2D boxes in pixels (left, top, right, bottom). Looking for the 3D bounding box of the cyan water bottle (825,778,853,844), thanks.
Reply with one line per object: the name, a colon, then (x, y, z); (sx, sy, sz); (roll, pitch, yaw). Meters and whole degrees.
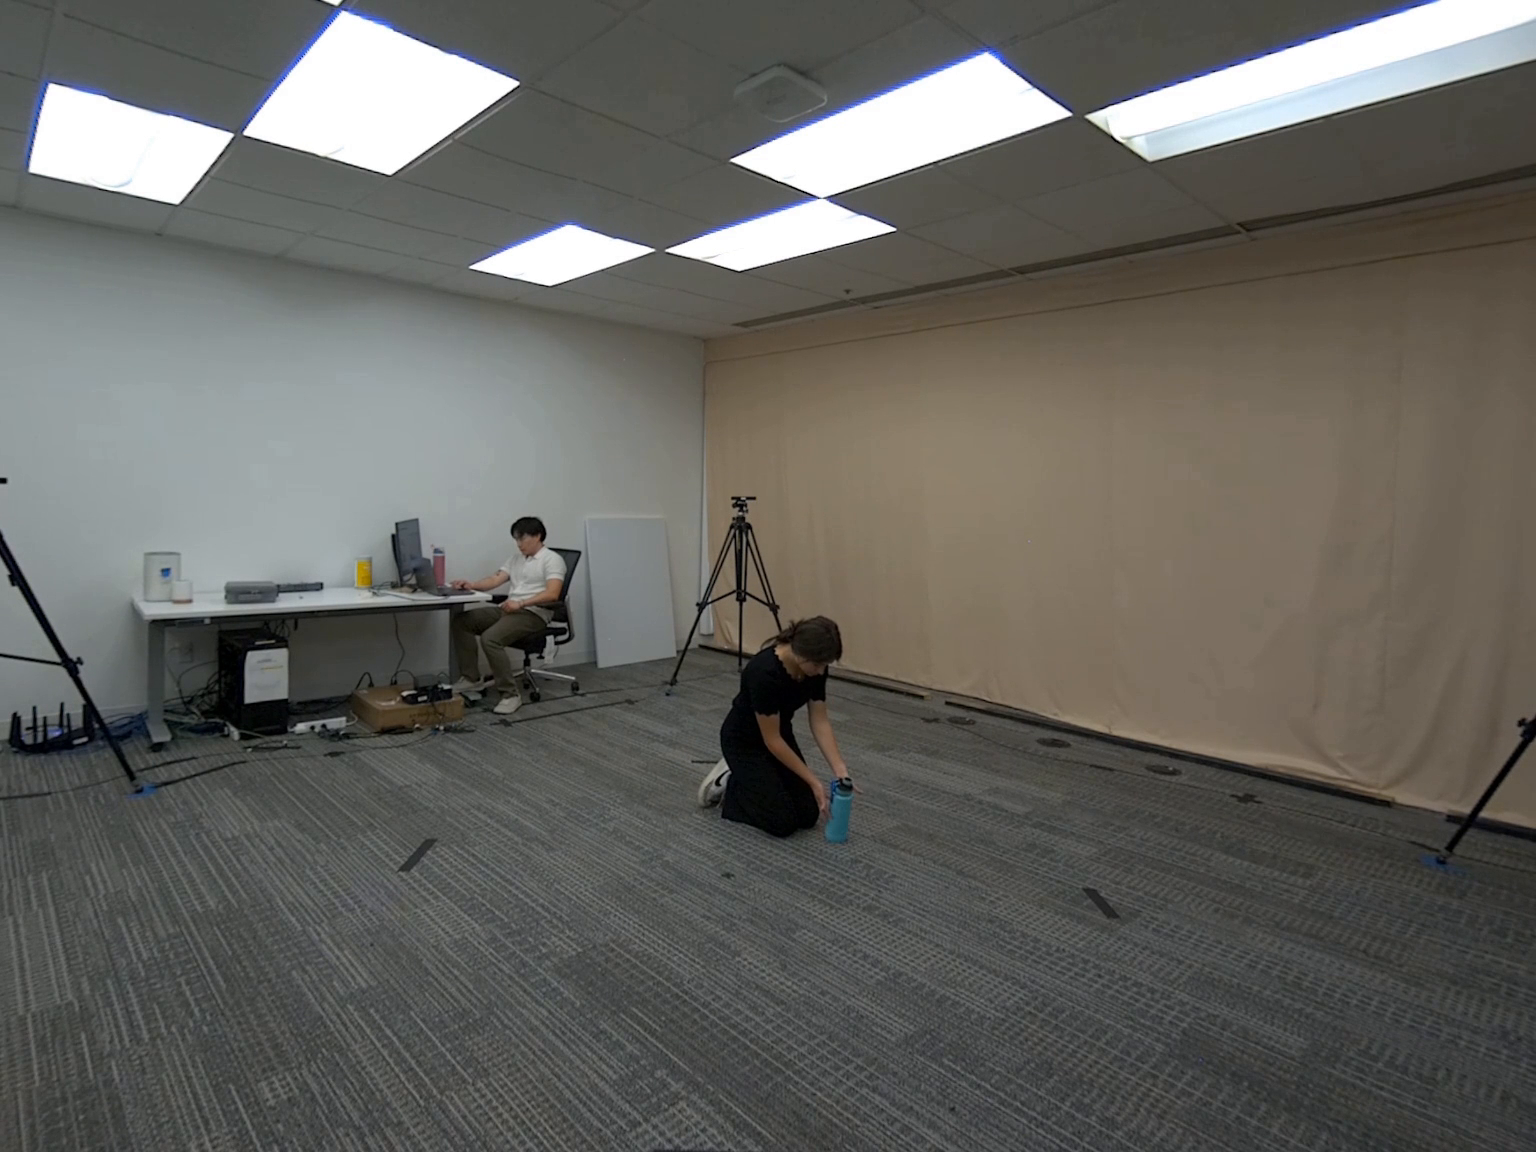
cyan water bottle: (0.282, 0.947, 3.414); (0.092, 0.279, 0.093); (0, 19, -1)
